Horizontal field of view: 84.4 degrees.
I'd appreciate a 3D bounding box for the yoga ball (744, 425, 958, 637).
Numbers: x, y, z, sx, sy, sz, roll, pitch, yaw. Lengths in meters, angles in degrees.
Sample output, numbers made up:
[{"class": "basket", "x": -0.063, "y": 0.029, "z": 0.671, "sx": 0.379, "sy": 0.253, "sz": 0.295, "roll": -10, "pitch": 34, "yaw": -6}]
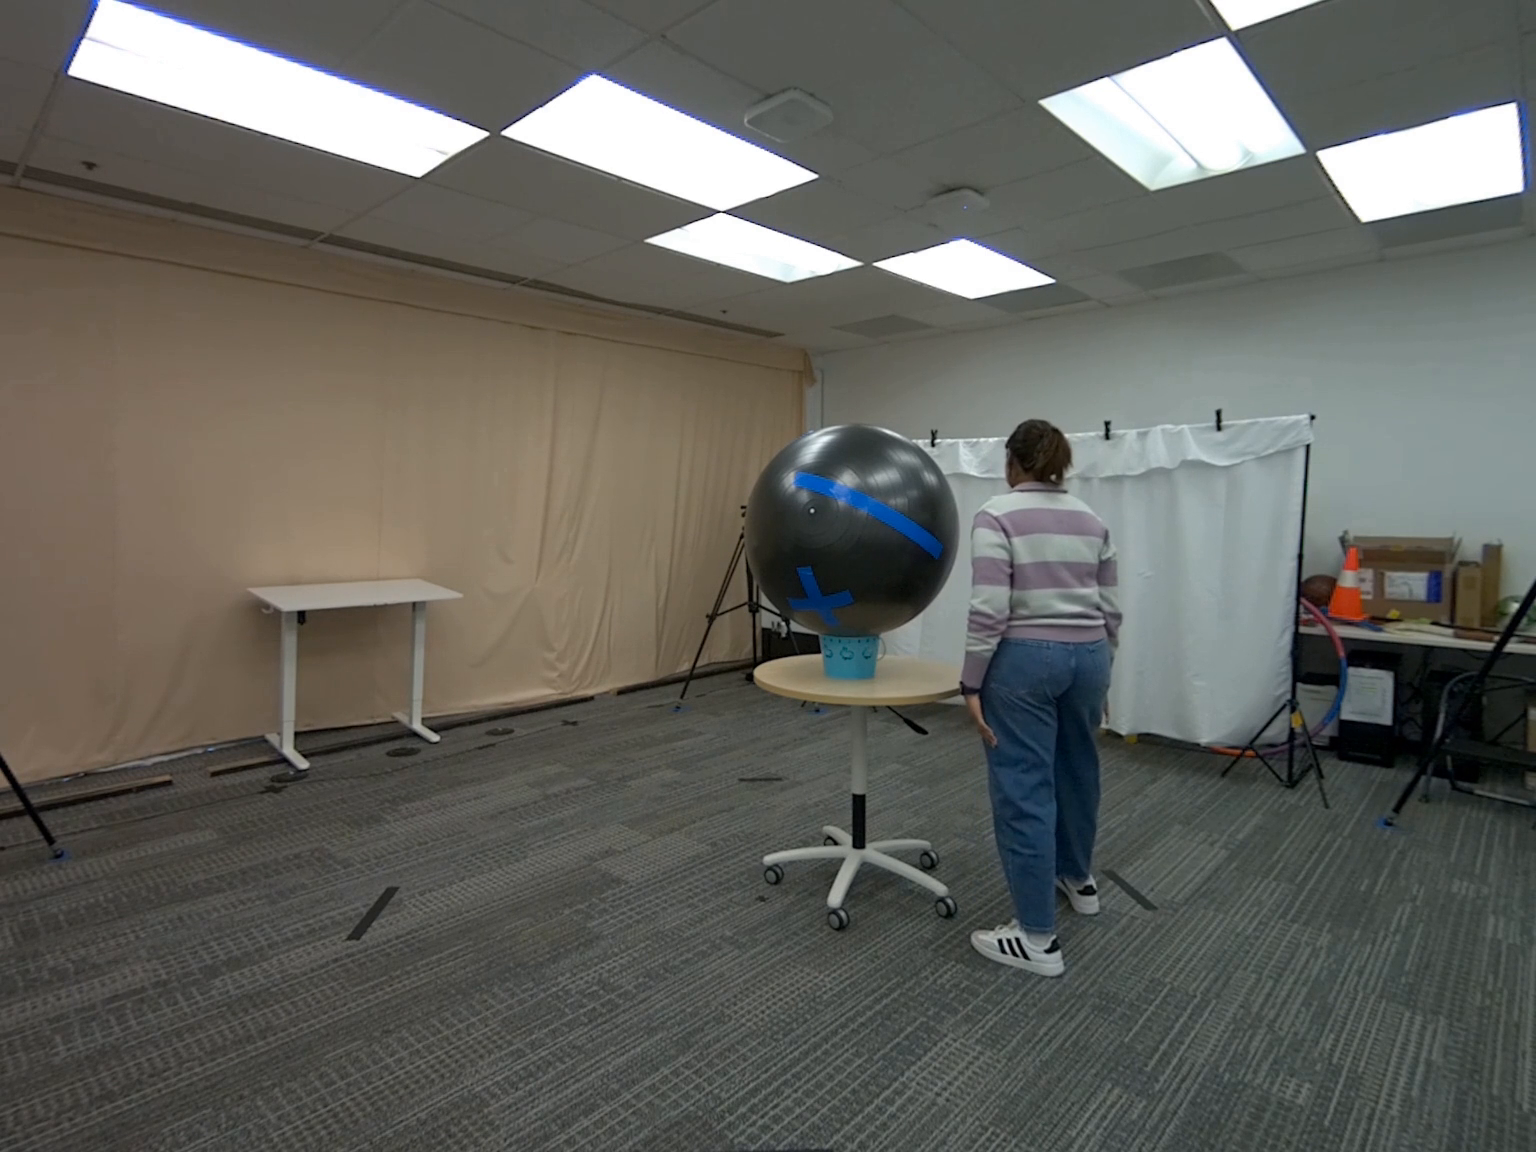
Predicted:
[{"class": "yoga ball", "x": 0.296, "y": -0.157, "z": 3.016, "sx": 0.757, "sy": 0.756, "sz": 0.760, "roll": 0, "pitch": 4, "yaw": -2}]
